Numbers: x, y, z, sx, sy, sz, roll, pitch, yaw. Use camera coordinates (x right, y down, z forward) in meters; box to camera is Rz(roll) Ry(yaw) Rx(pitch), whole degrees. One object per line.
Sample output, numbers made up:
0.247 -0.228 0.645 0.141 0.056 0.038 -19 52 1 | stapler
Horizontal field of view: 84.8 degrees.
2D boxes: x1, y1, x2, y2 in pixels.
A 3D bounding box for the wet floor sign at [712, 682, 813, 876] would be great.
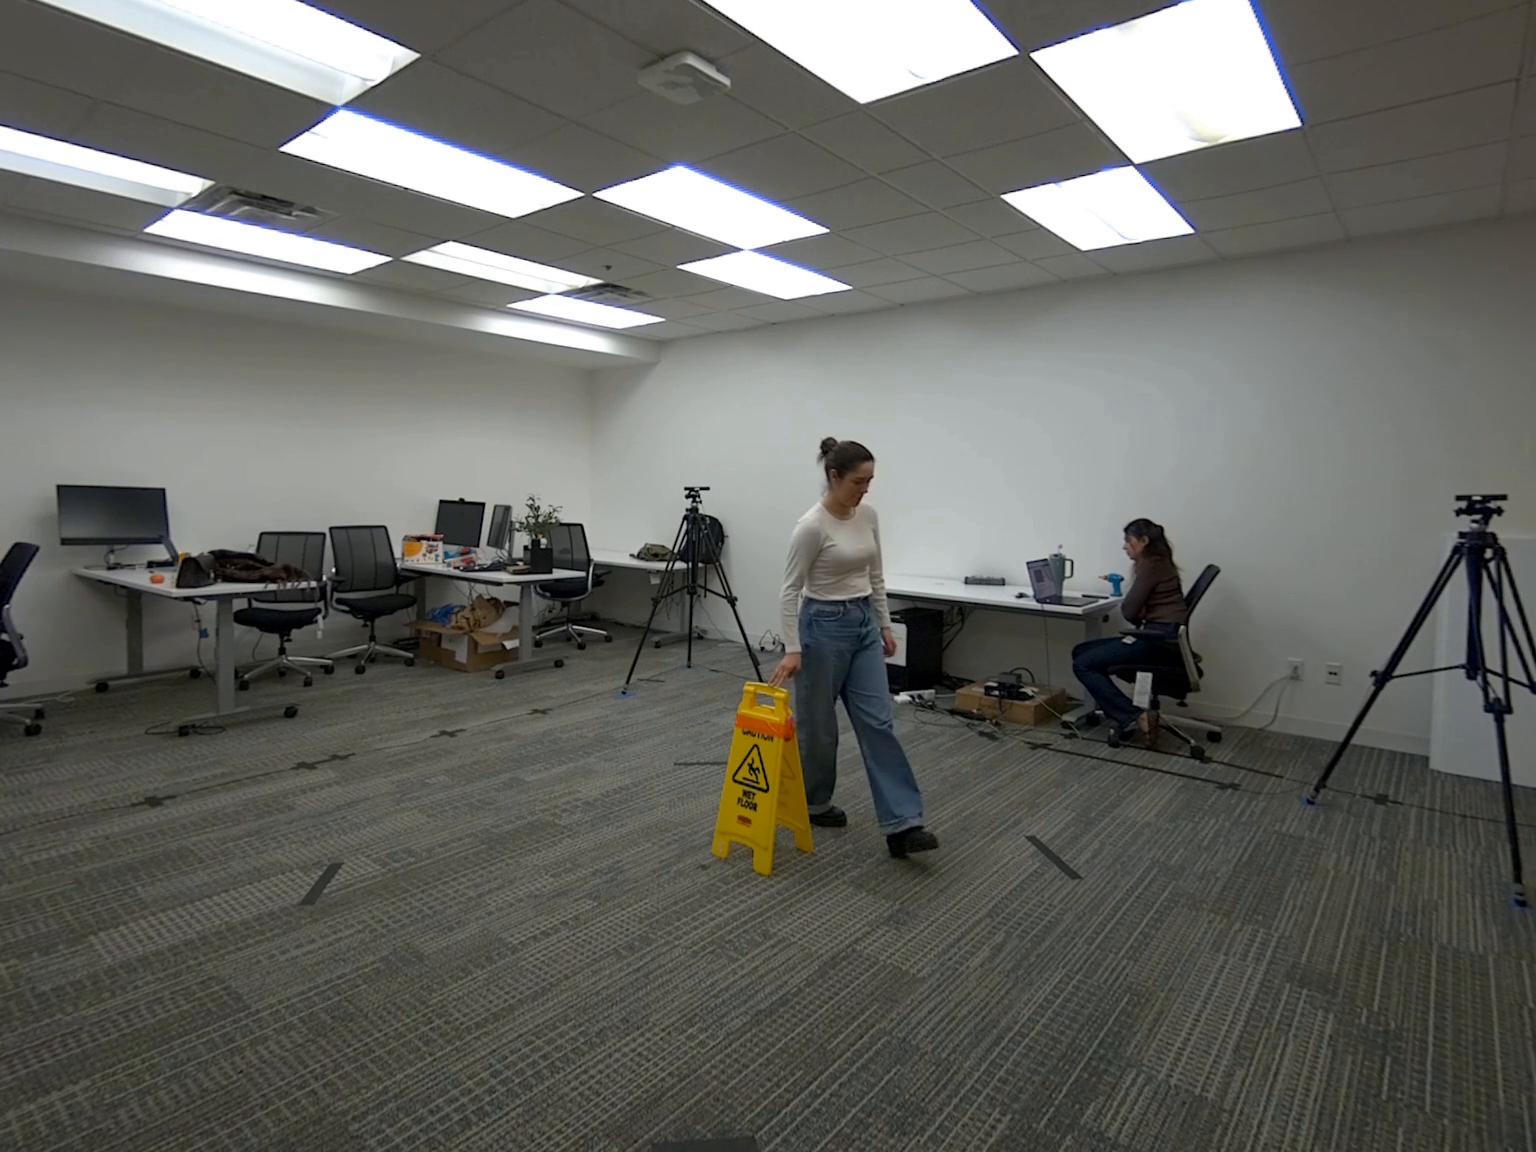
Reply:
-0.019 0.730 3.234 0.292 0.644 0.281 4 4 39 | wet floor sign
